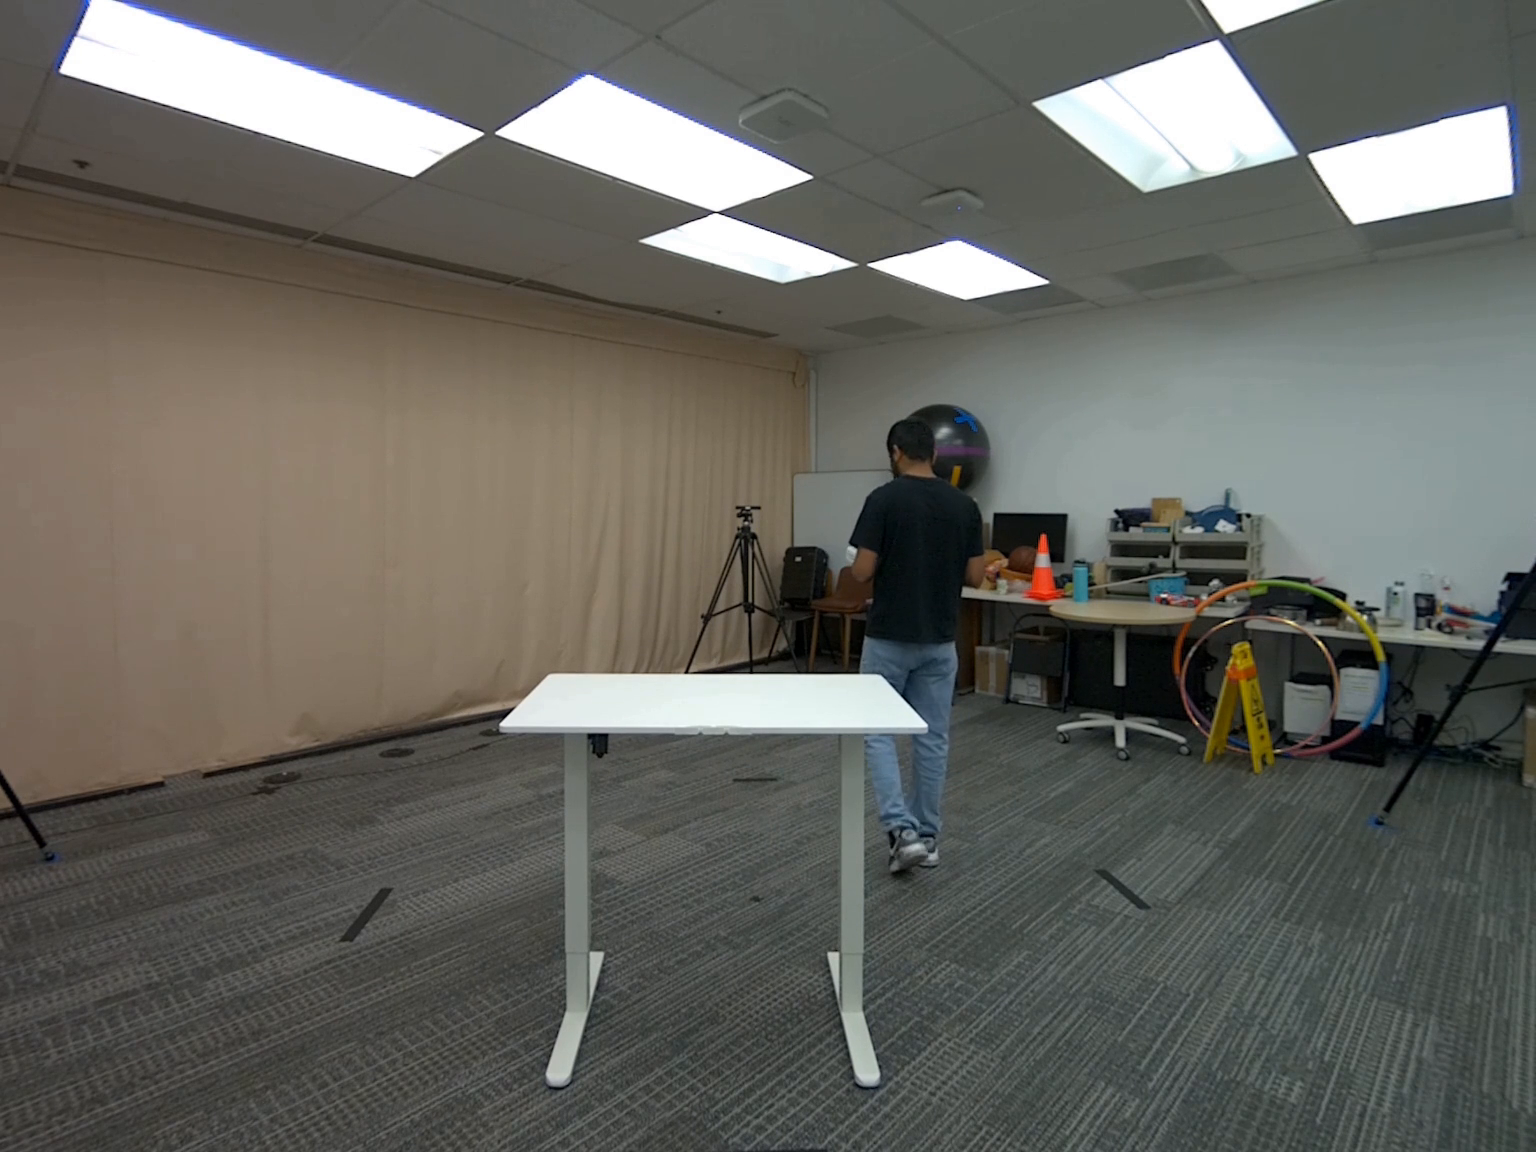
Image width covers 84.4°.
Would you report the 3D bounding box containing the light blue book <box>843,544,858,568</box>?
[{"bbox_3d":[0.486,-0.063,3.572,0.189,0.058,0.266,0,13,-11],"label":"light blue book"}]
